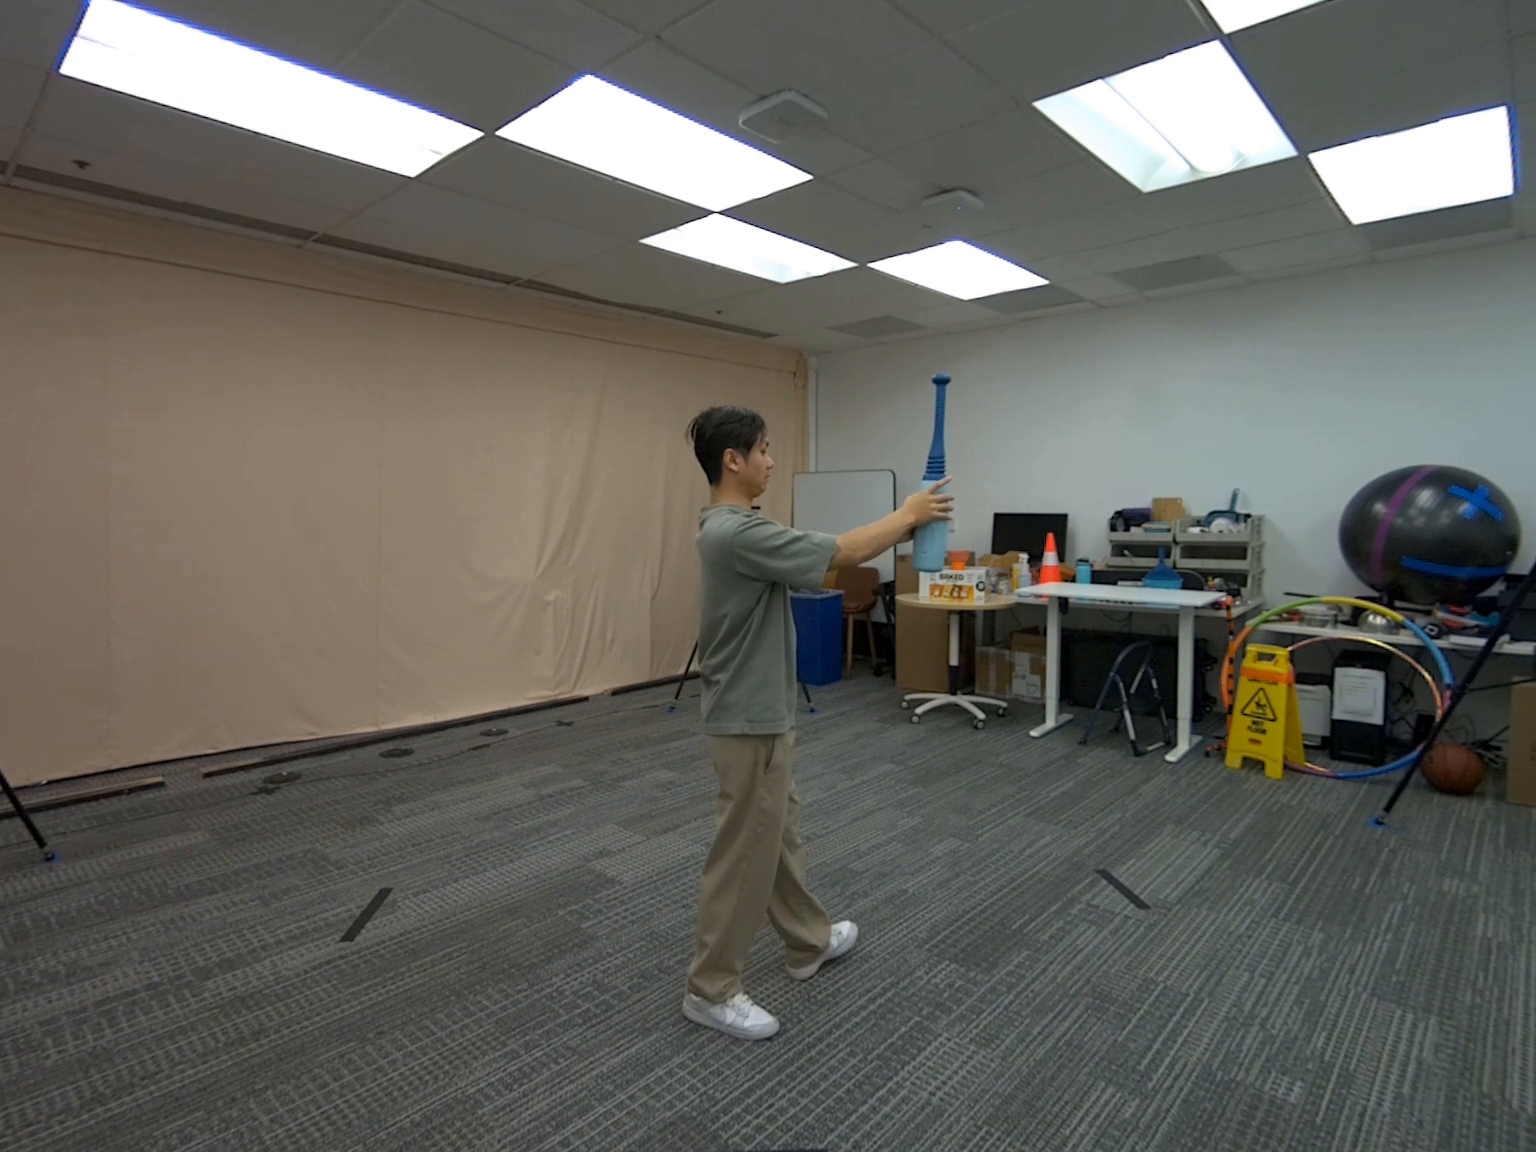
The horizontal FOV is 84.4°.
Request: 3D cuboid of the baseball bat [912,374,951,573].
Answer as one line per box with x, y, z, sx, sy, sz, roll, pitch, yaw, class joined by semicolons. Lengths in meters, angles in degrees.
0.477;-0.280;2.309;0.089;0.543;0.089;3;1;-2;baseball bat
